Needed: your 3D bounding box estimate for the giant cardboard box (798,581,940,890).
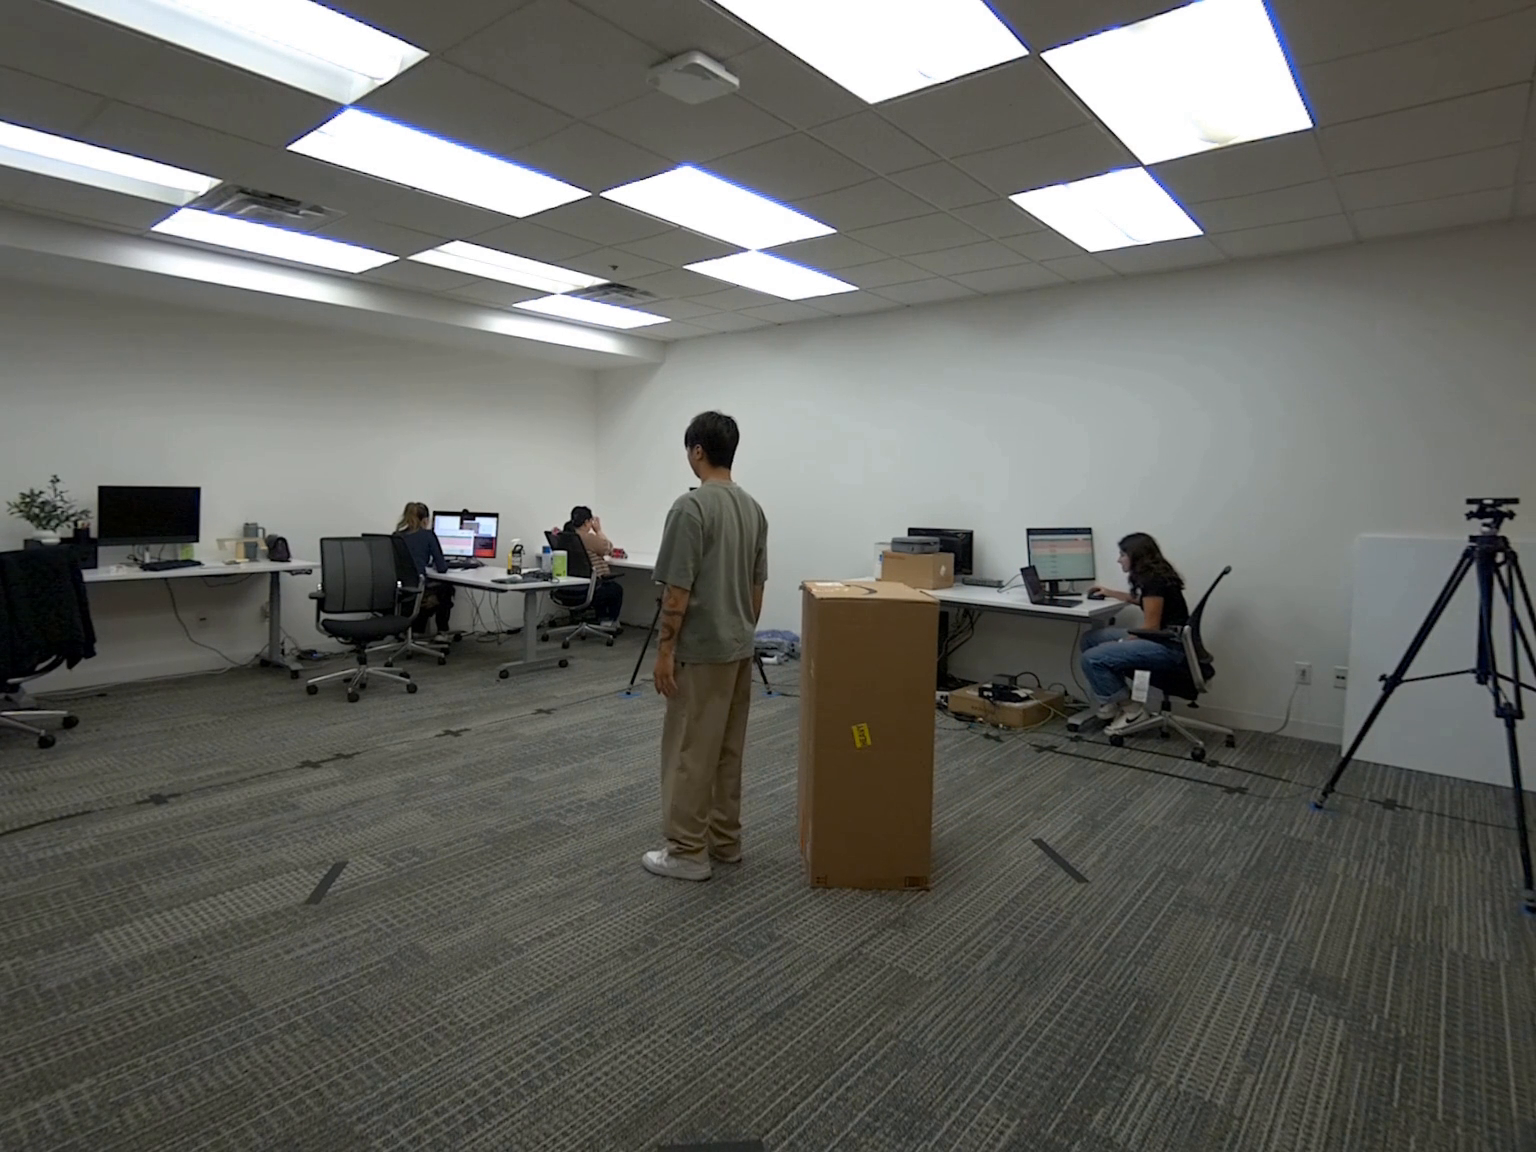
[{"bbox_3d":[0.346,0.554,3.235,0.425,1.023,0.580,1,4,-3],"label":"giant cardboard box"}]
